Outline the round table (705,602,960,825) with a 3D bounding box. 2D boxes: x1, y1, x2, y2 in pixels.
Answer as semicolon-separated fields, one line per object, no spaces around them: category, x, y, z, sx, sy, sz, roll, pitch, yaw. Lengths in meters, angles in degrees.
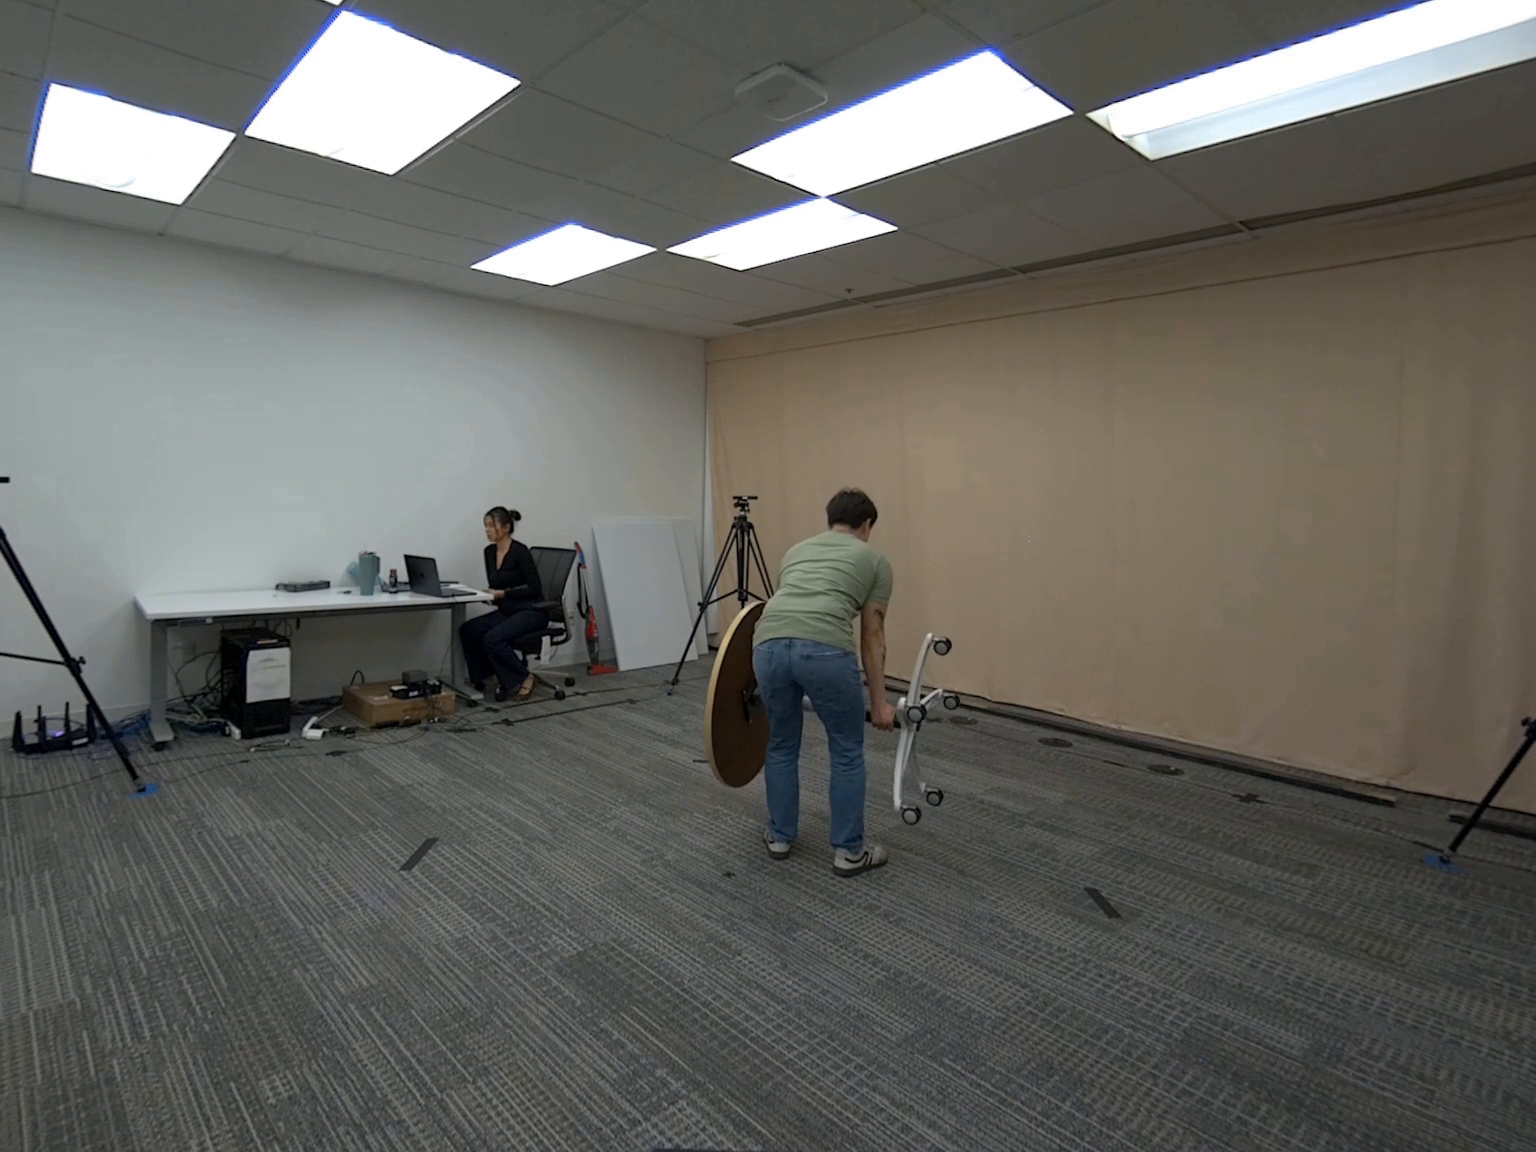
round table;0.283;0.540;3.325;0.810;0.761;0.751;7;6;24
